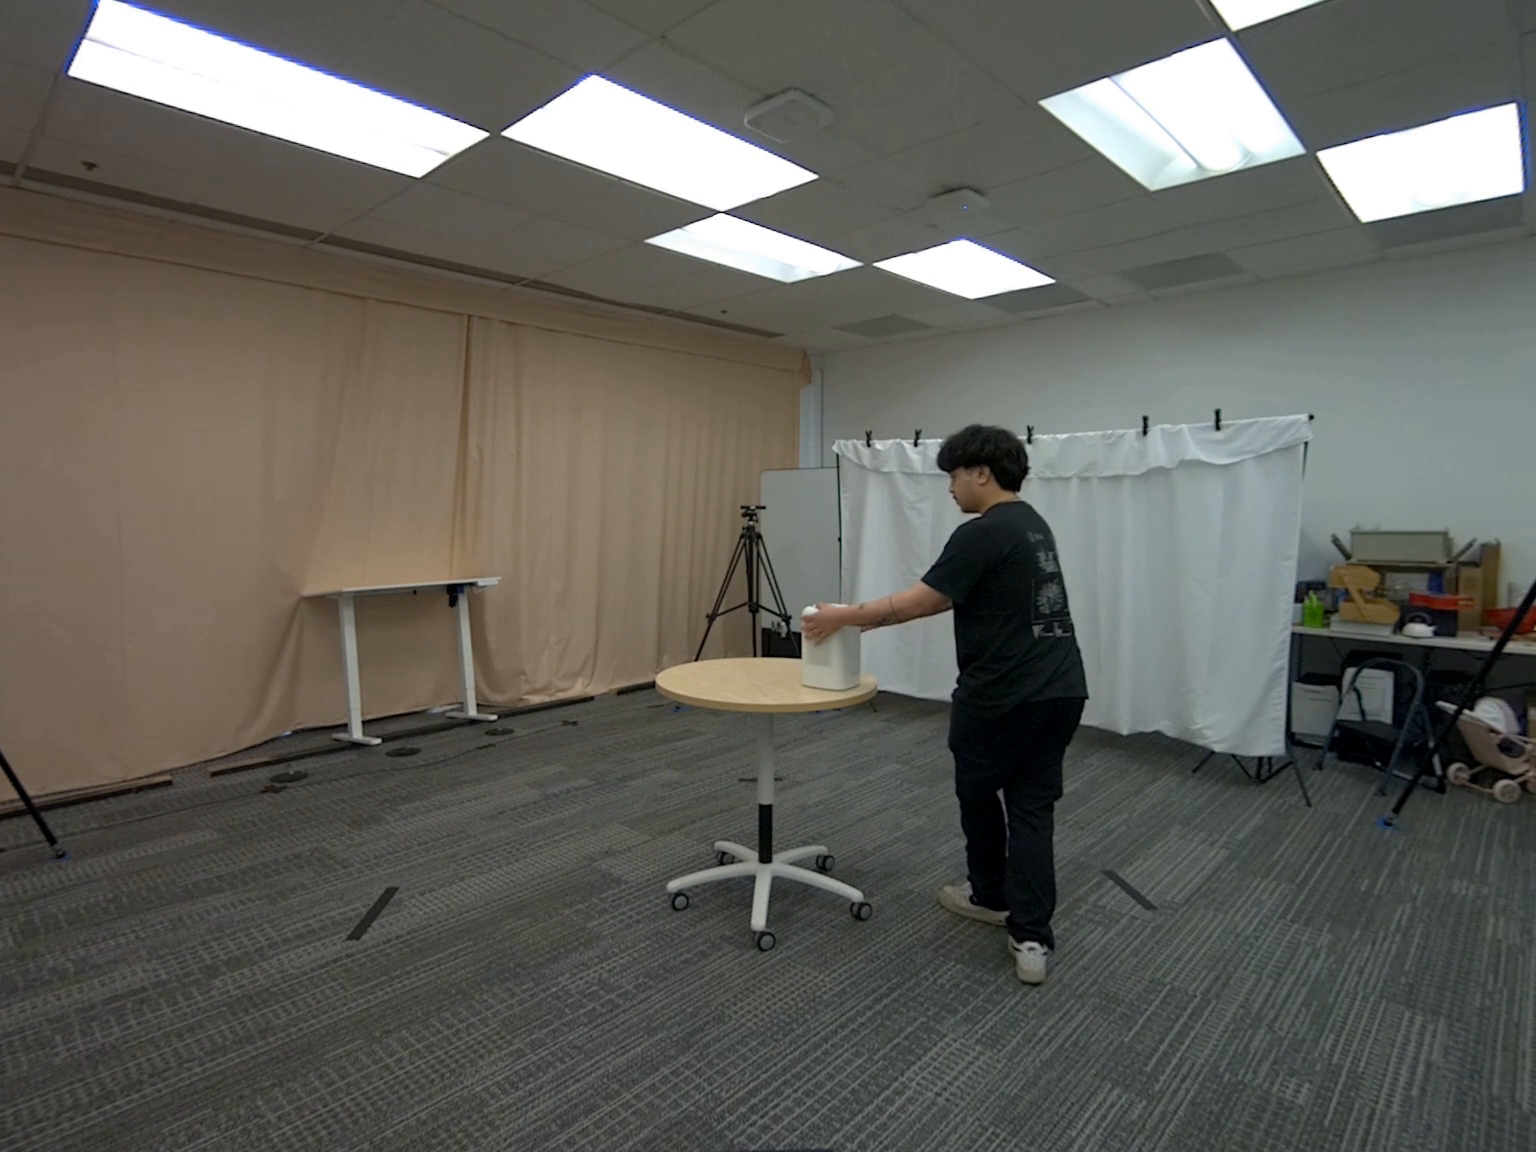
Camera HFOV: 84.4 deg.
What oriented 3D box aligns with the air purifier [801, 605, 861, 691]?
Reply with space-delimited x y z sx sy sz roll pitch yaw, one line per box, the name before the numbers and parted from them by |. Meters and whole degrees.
air purifier | 0.219 0.234 2.817 0.177 0.265 0.166 3 4 35
